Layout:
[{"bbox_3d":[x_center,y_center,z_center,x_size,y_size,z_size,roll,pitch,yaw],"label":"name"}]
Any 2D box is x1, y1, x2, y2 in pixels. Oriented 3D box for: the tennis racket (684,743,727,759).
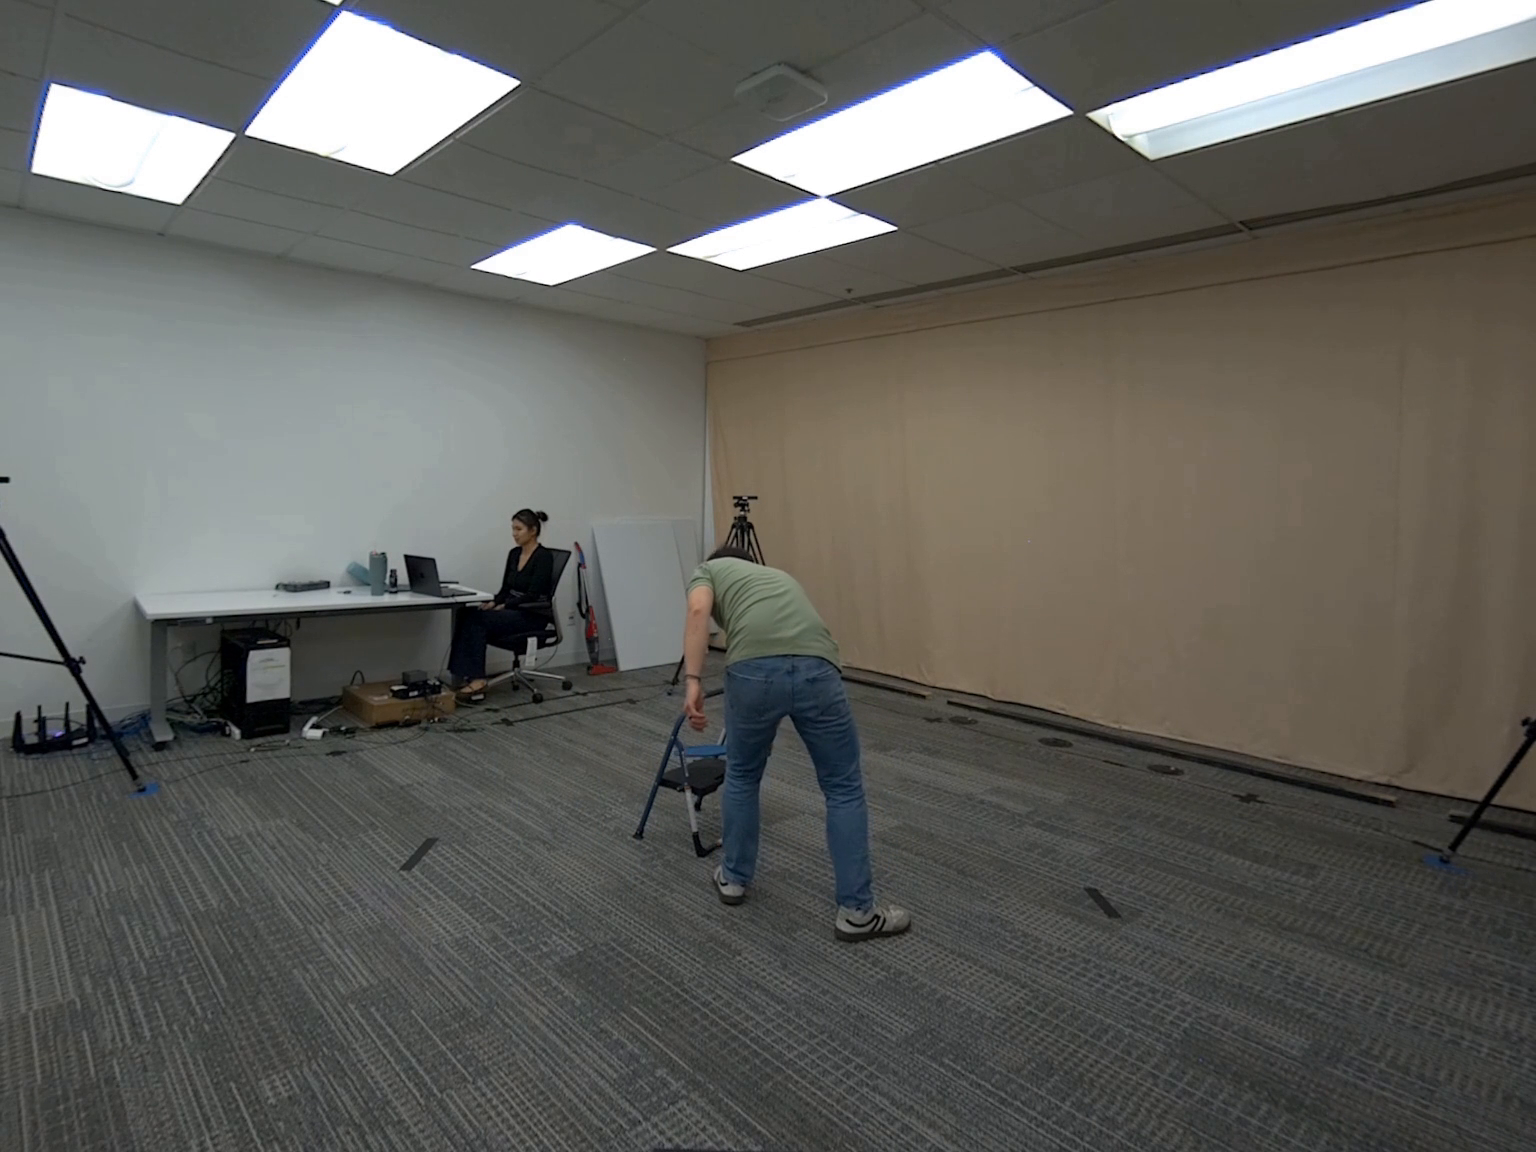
[{"bbox_3d":[-0.203,0.714,3.394,0.440,0.032,0.209,-5,-2,27],"label":"tennis racket"}]
